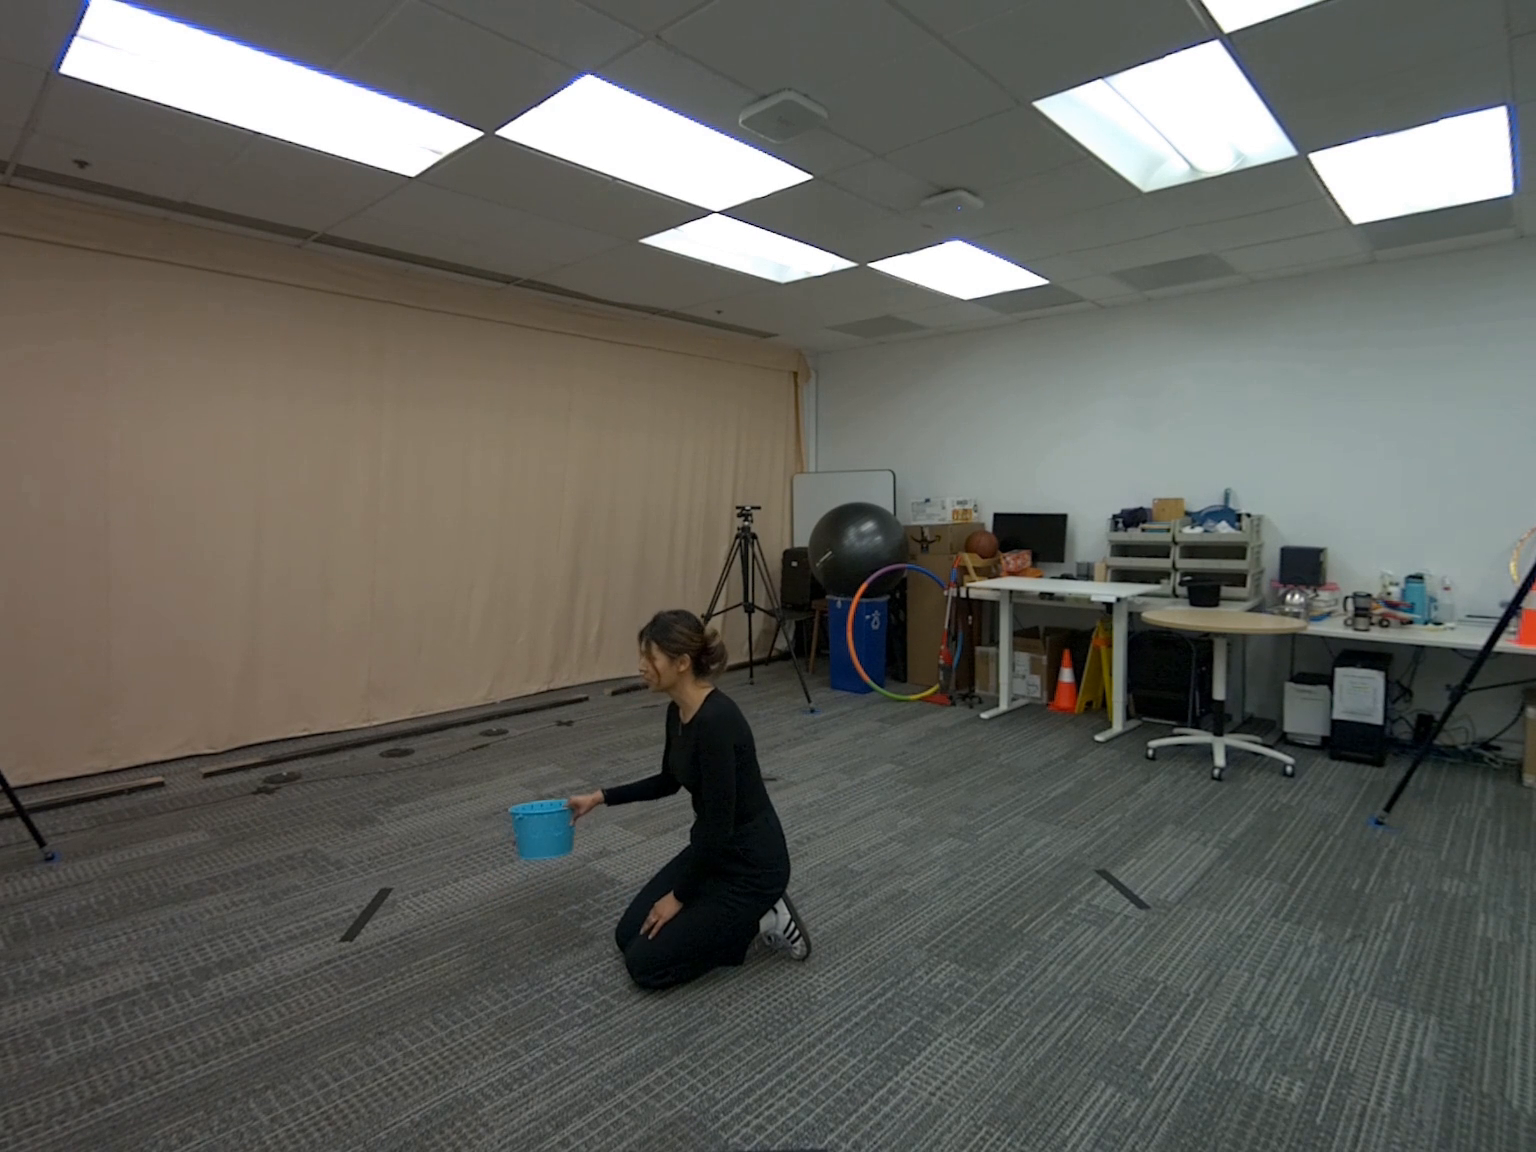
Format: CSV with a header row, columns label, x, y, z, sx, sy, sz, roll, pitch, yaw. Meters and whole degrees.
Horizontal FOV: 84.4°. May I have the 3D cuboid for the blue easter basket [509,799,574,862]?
label,x,y,z,sx,sy,sz,roll,pitch,yaw
blue easter basket,-0.752,0.850,2.806,0.243,0.156,0.243,-3,-4,-2
